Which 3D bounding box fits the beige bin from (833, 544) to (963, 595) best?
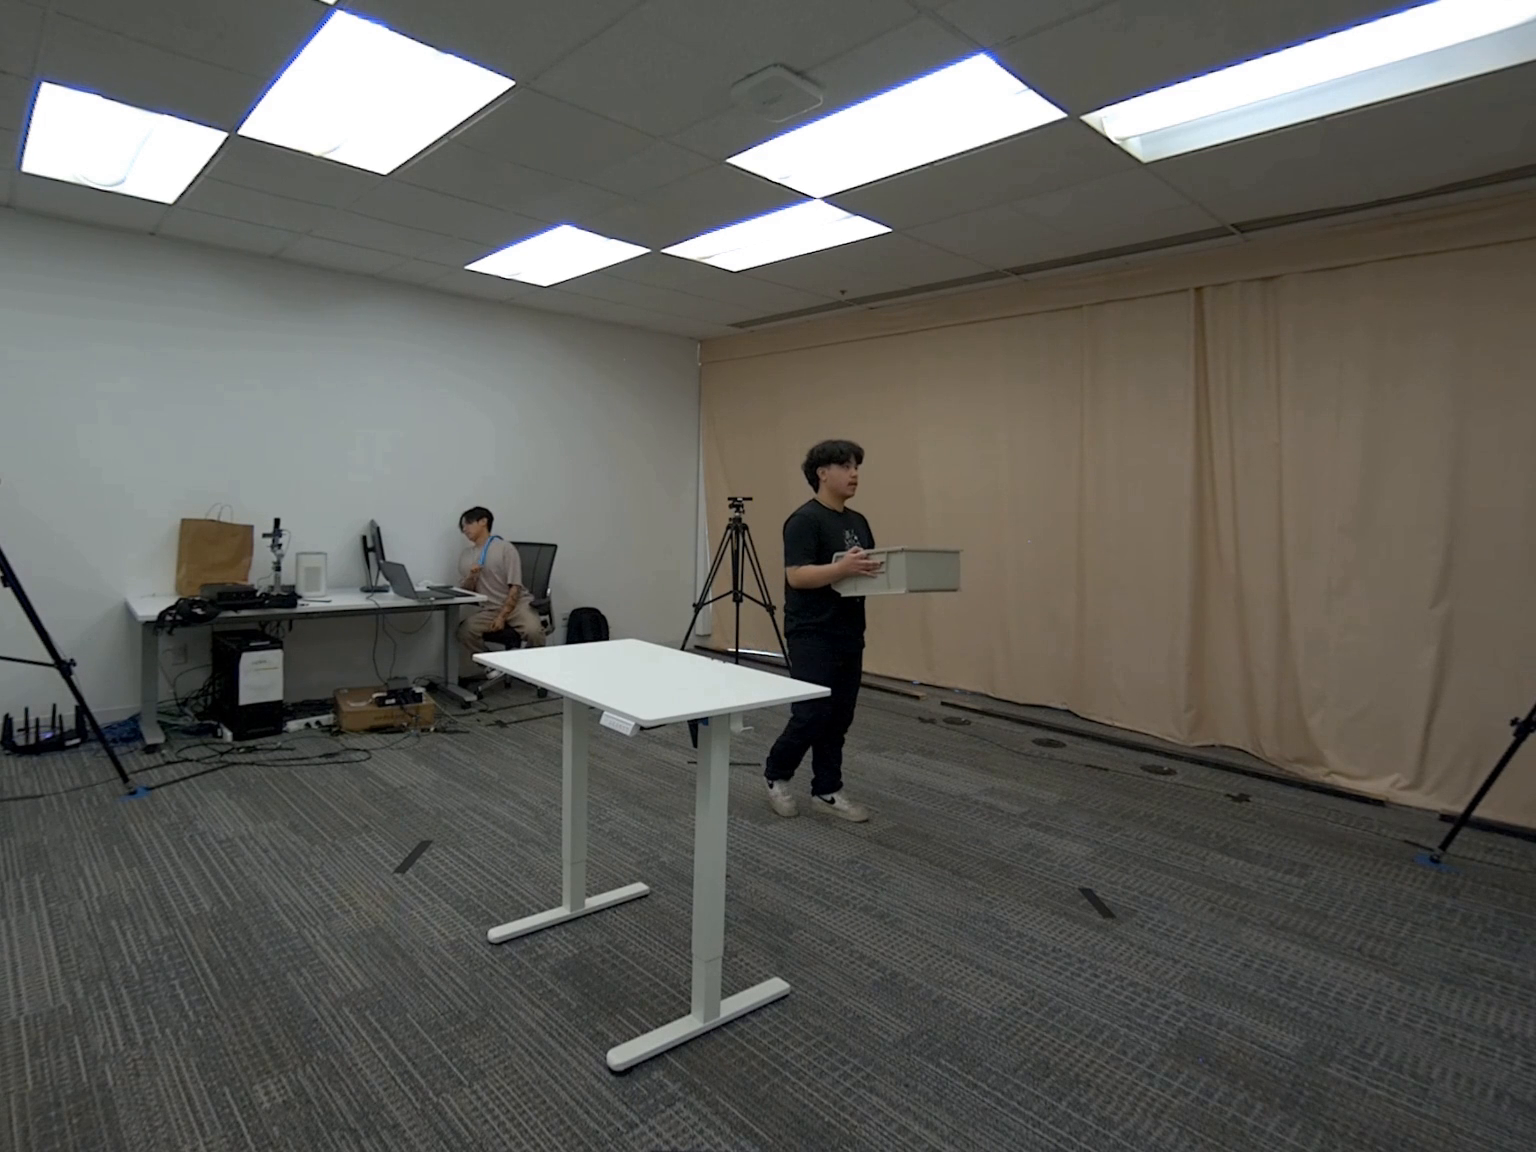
[{"bbox_3d":[0.516,-0.022,3.486,0.412,0.189,0.386,2,-2,-43],"label":"beige bin"}]
